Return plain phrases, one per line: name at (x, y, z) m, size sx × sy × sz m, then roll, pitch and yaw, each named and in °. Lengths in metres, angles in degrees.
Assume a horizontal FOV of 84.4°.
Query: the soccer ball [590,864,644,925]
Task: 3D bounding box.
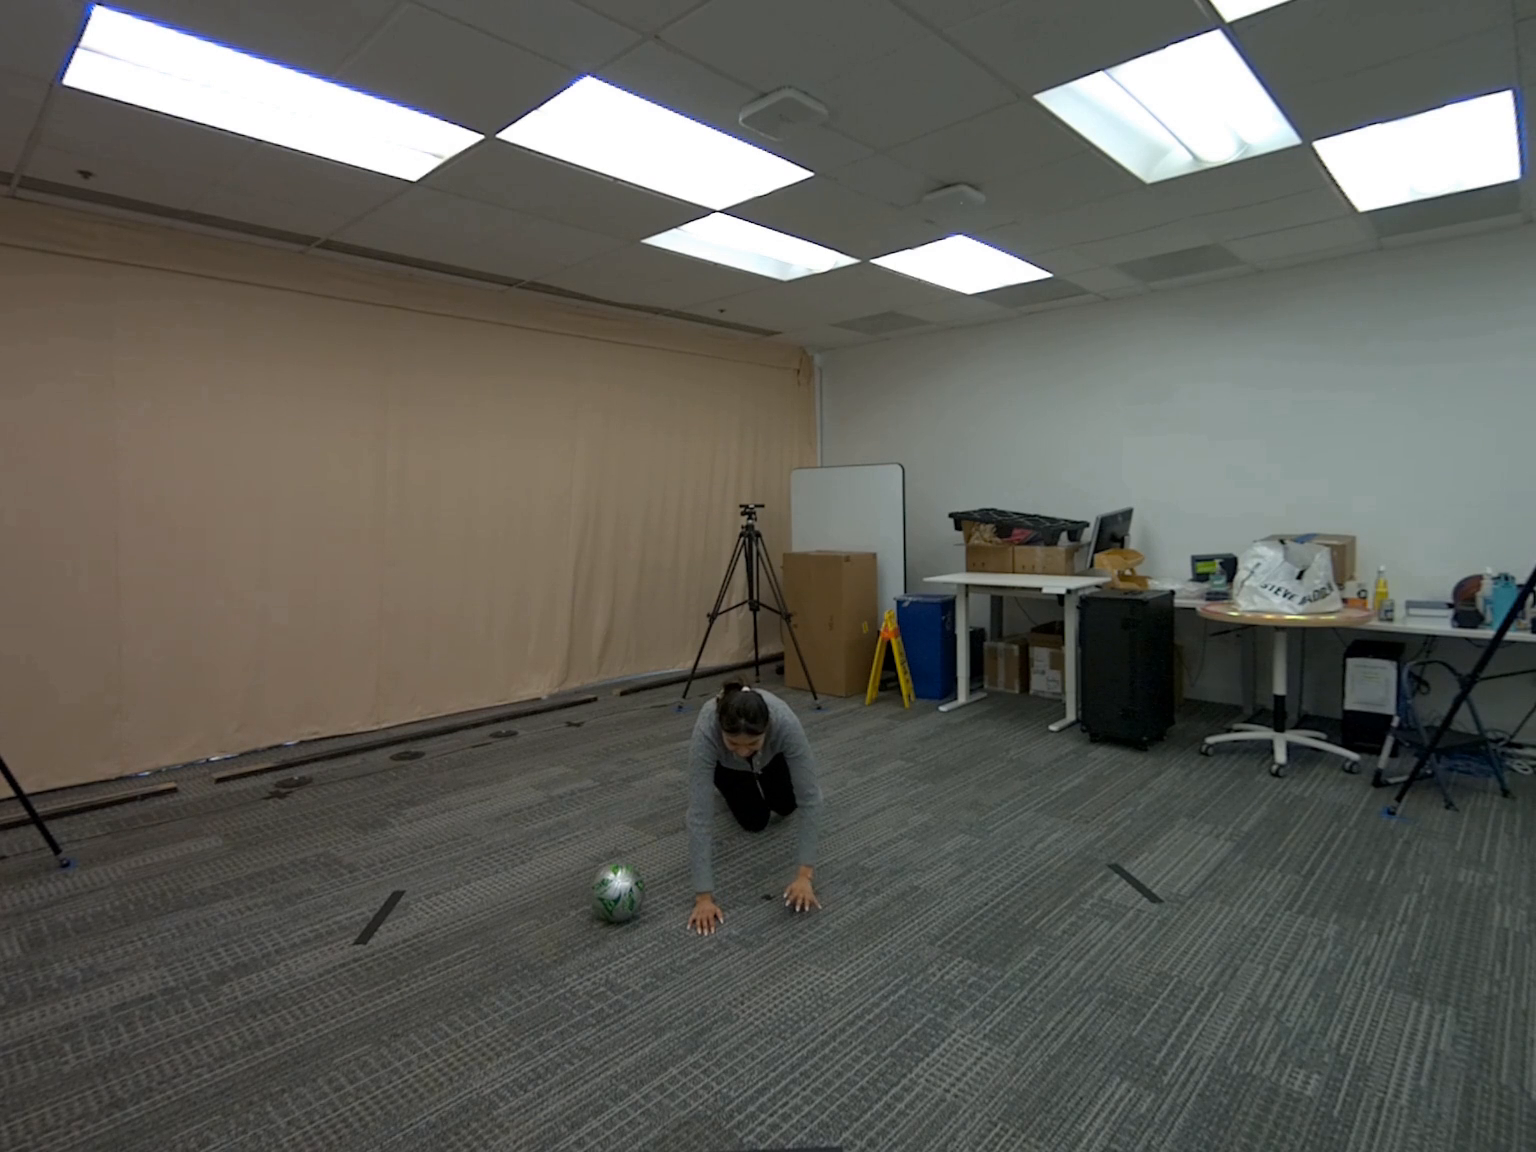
soccer ball at (-0.513, 1.071, 2.845) m, size 0.187 × 0.187 × 0.188 m, roll -1°, pitch 4°, yaw -2°
